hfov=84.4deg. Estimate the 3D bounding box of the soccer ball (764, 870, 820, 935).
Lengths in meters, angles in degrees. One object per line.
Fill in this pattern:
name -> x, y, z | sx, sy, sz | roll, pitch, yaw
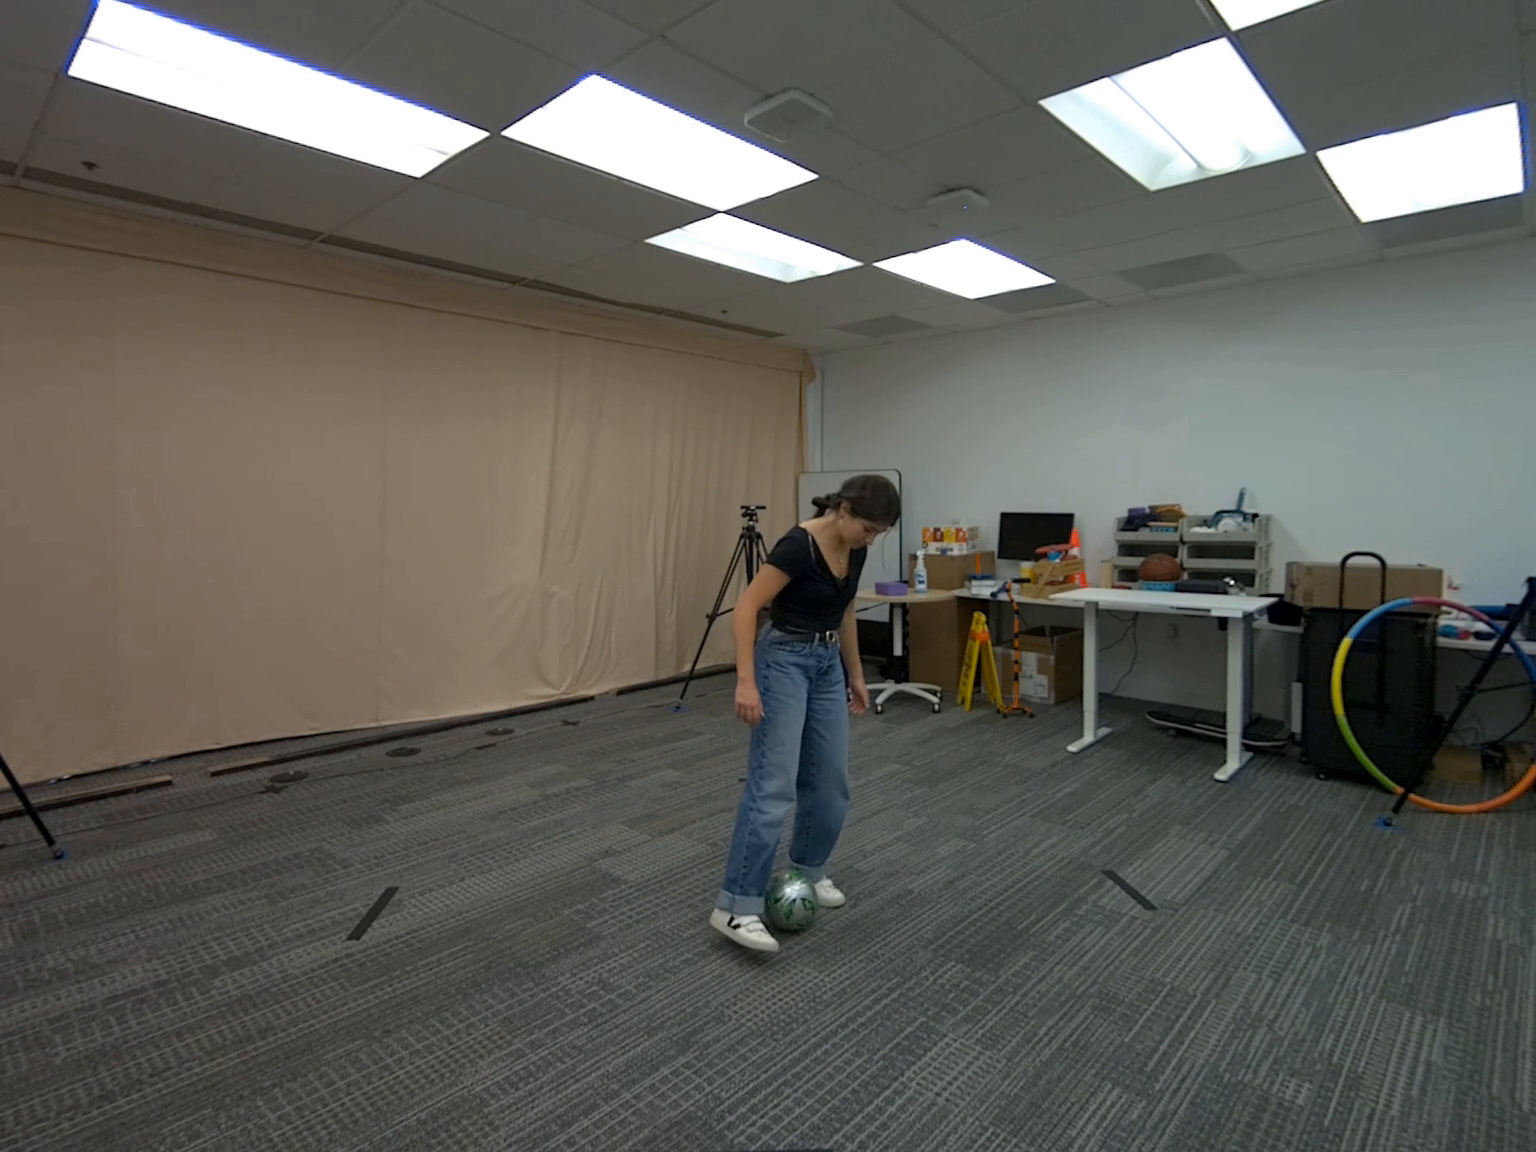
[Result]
soccer ball -> 0.079, 1.071, 2.778 | 0.187, 0.187, 0.188 | 0, 4, -2
